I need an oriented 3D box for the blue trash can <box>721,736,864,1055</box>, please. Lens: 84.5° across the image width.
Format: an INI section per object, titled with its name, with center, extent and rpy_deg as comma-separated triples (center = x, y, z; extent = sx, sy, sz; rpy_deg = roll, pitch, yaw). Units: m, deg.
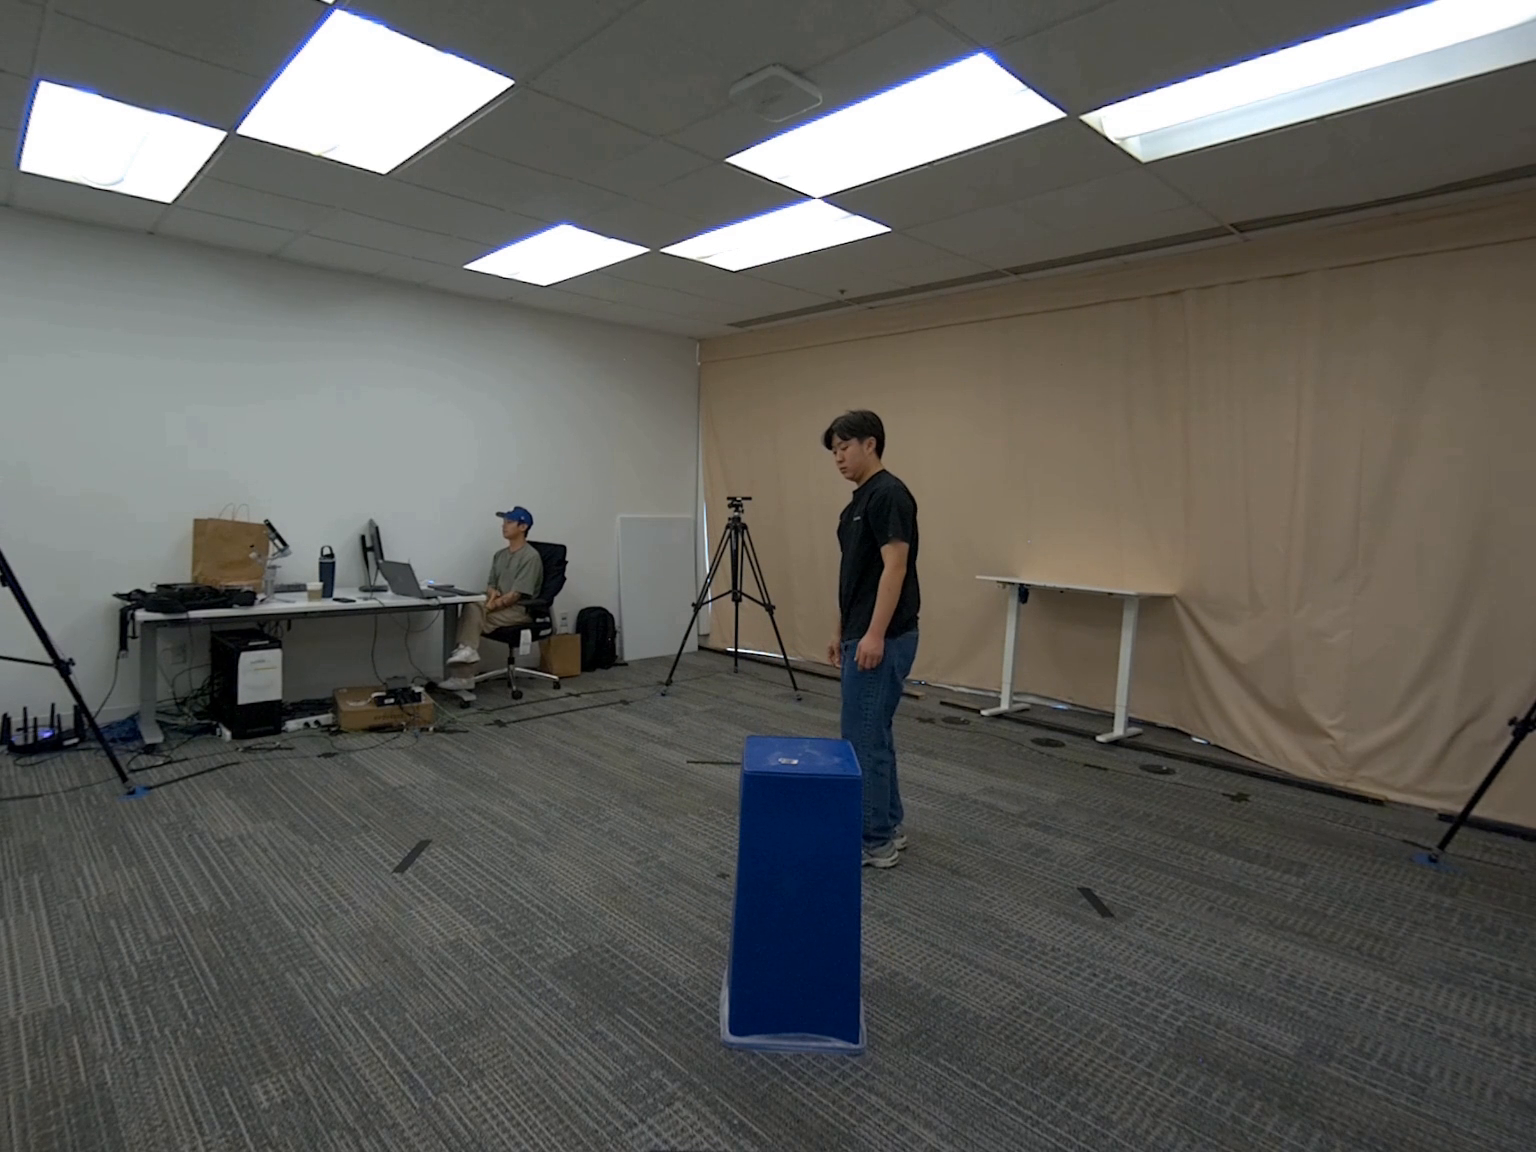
[blue trash can]
center = 0.069, 0.841, 2.271
extent = 0.378, 0.711, 0.375
rpy_deg = 1, 5, 0
